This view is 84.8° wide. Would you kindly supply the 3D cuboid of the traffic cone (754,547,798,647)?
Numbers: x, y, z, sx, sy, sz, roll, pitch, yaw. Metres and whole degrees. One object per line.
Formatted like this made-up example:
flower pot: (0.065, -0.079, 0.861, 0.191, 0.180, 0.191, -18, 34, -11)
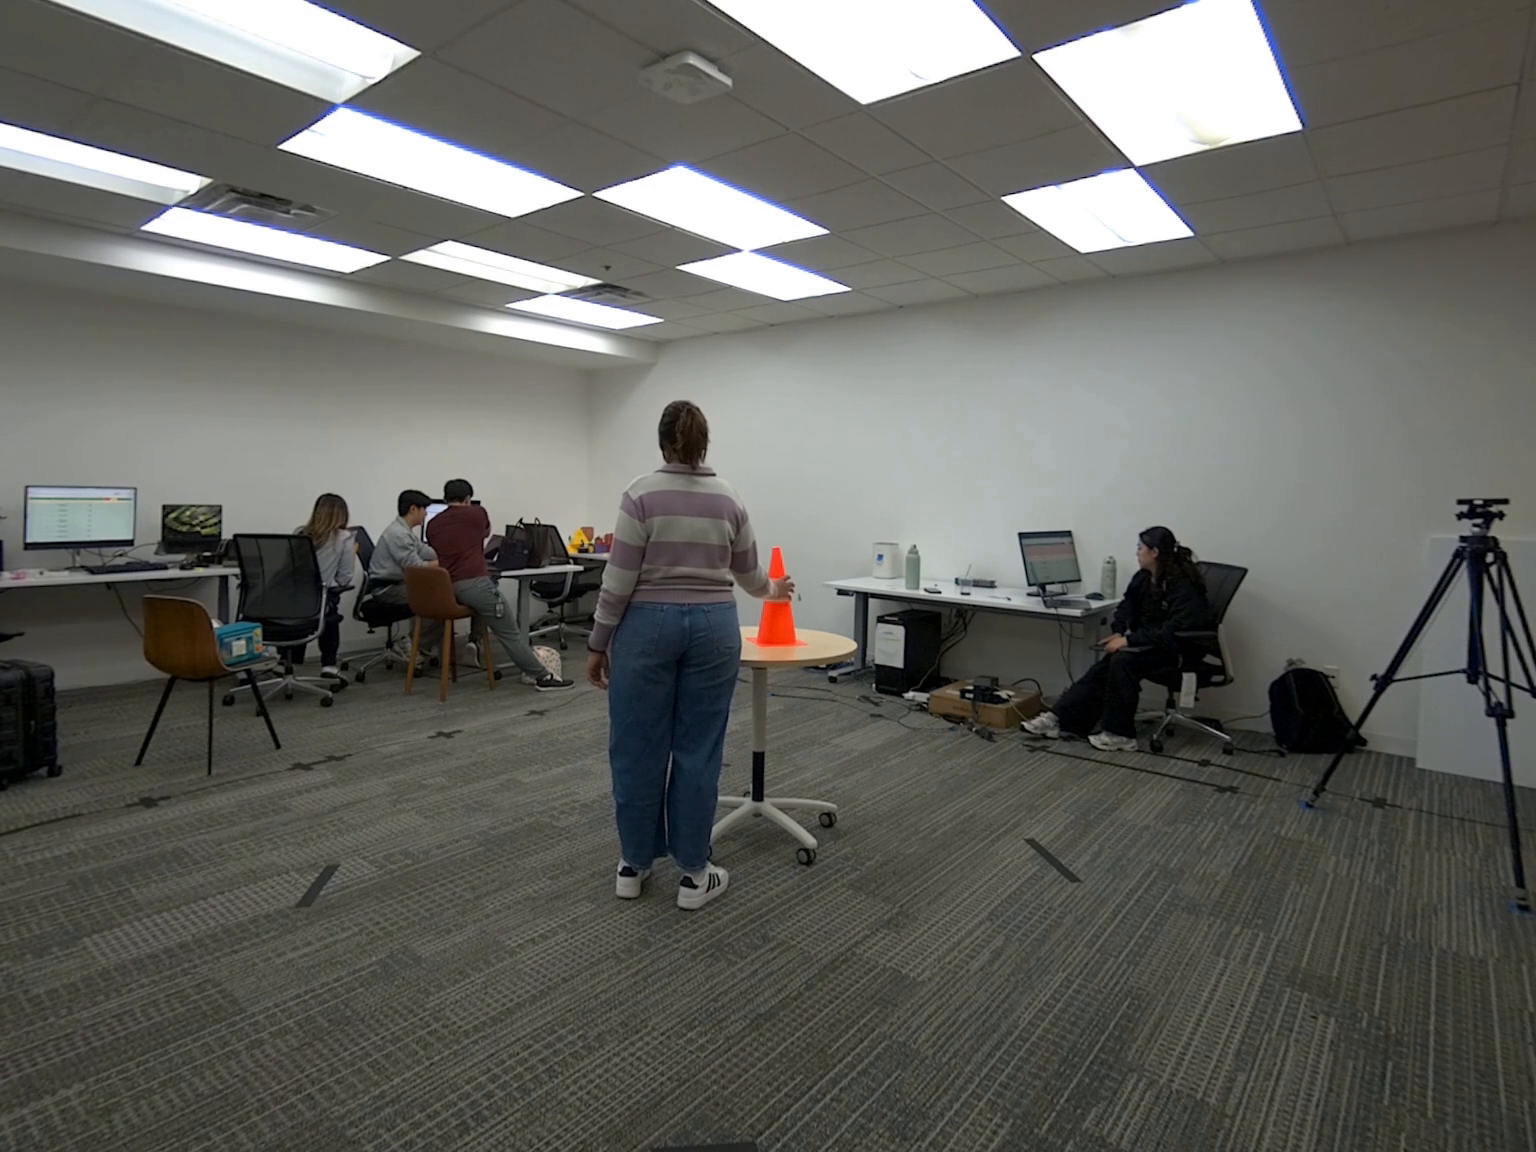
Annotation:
traffic cone: (0.027, 0.075, 3.393, 0.199, 0.382, 0.210, -1, 4, -22)
